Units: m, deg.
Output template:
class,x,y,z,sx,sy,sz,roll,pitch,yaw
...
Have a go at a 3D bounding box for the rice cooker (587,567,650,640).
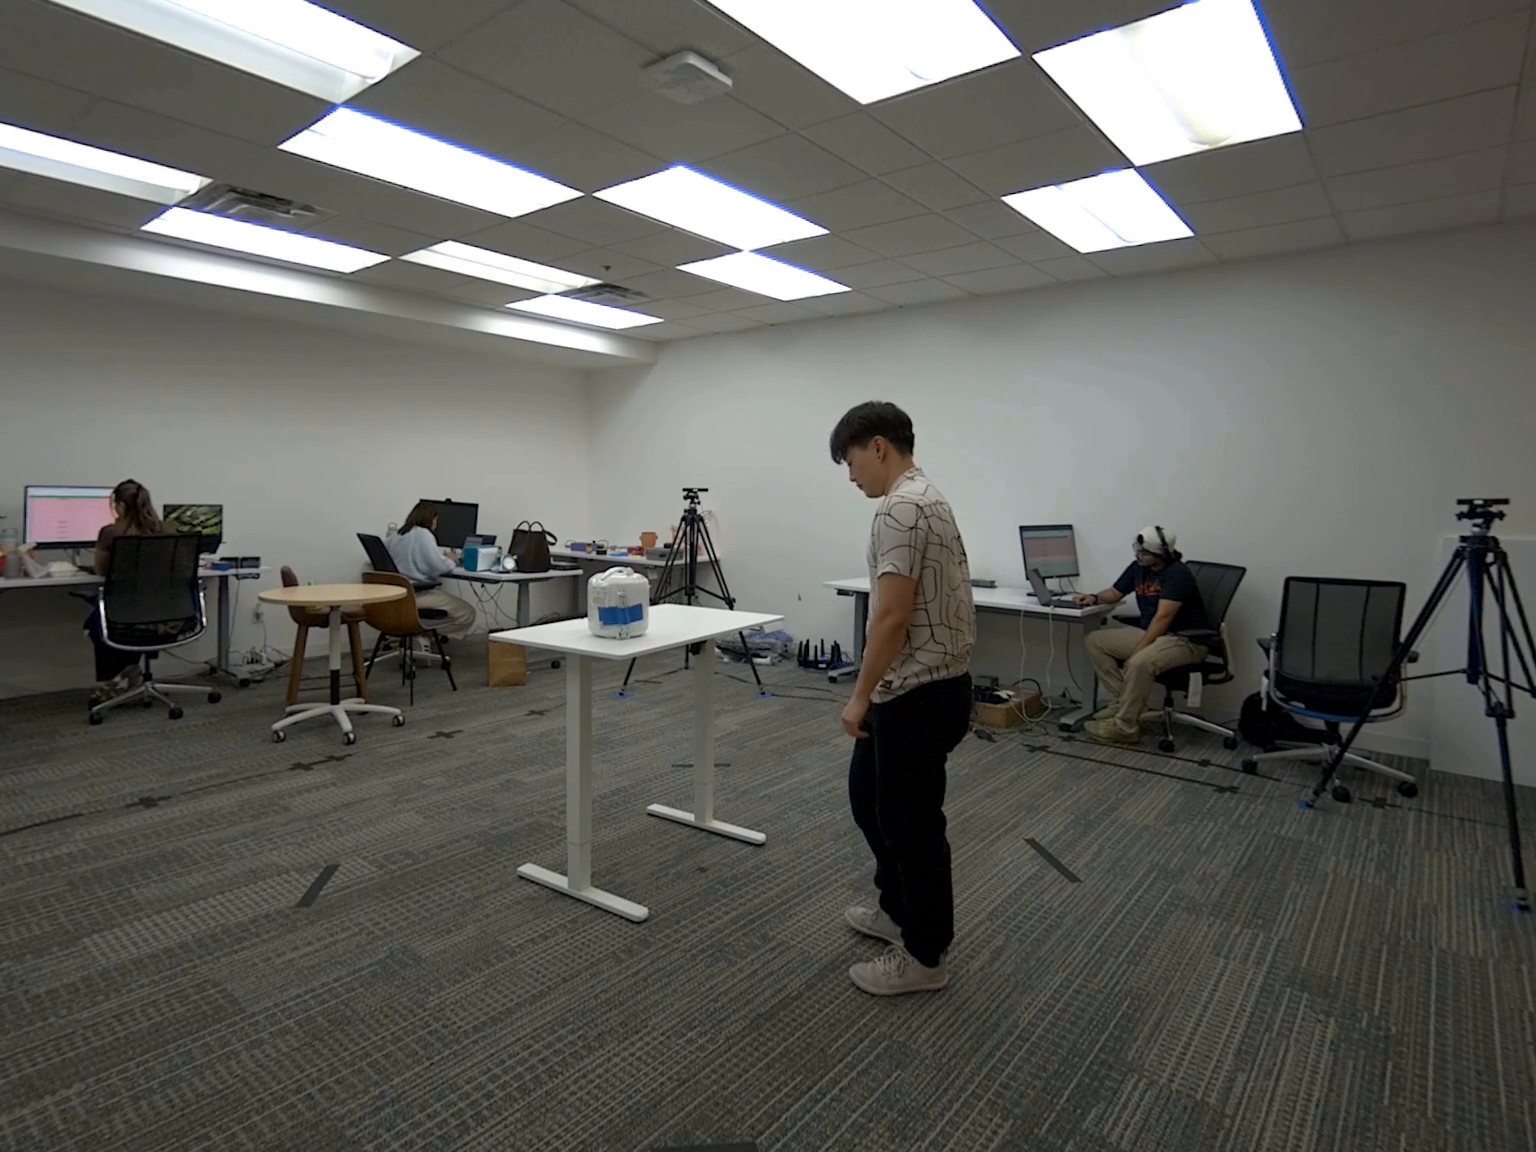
class,x,y,z,sx,sy,sz,roll,pitch,yaw
rice cooker,-0.529,0.083,2.922,0.224,0.232,0.215,5,5,28
